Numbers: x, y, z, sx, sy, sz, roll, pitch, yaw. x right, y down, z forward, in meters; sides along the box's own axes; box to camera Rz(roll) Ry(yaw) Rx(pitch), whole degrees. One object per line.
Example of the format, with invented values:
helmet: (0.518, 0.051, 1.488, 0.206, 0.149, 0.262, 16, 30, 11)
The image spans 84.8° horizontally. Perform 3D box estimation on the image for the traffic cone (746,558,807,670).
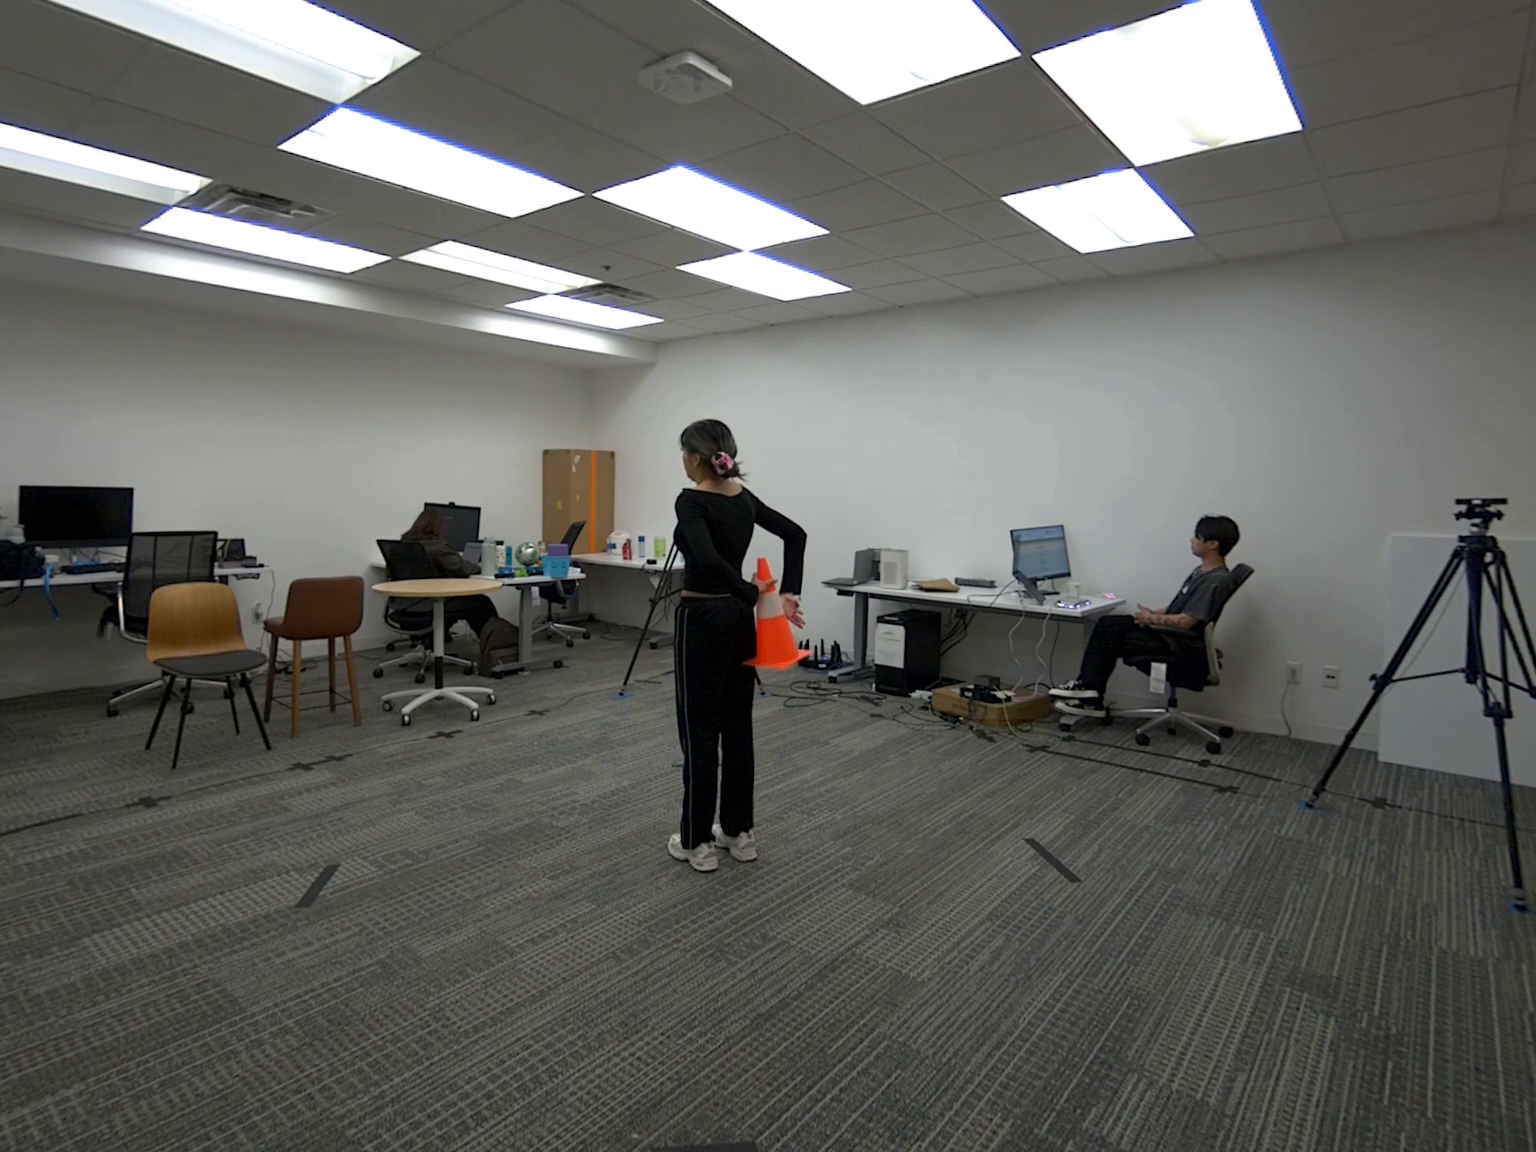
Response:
traffic cone: (-0.005, 0.121, 3.121, 0.209, 0.381, 0.201, -2, 8, 32)
